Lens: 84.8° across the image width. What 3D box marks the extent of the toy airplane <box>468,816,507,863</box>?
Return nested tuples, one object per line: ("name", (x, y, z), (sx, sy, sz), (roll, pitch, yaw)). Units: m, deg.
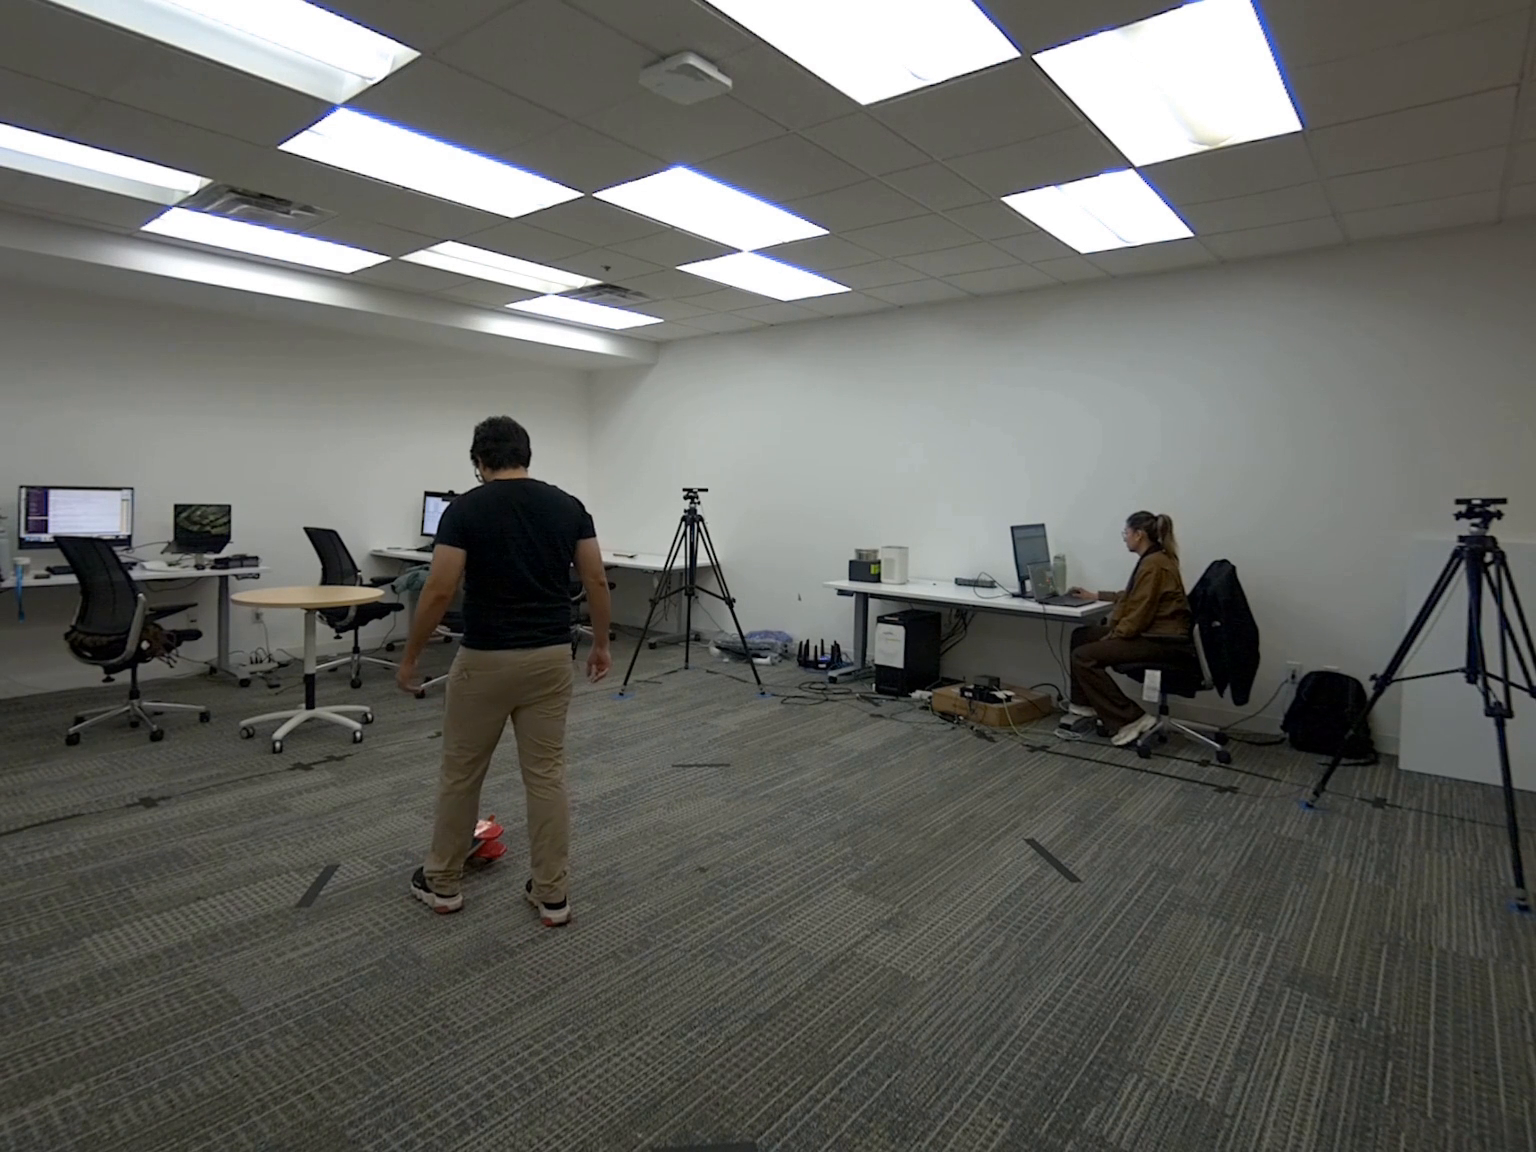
("toy airplane", (-1.086, 0.990, 3.076), (0.249, 0.156, 0.261), (-1, 2, -8))
